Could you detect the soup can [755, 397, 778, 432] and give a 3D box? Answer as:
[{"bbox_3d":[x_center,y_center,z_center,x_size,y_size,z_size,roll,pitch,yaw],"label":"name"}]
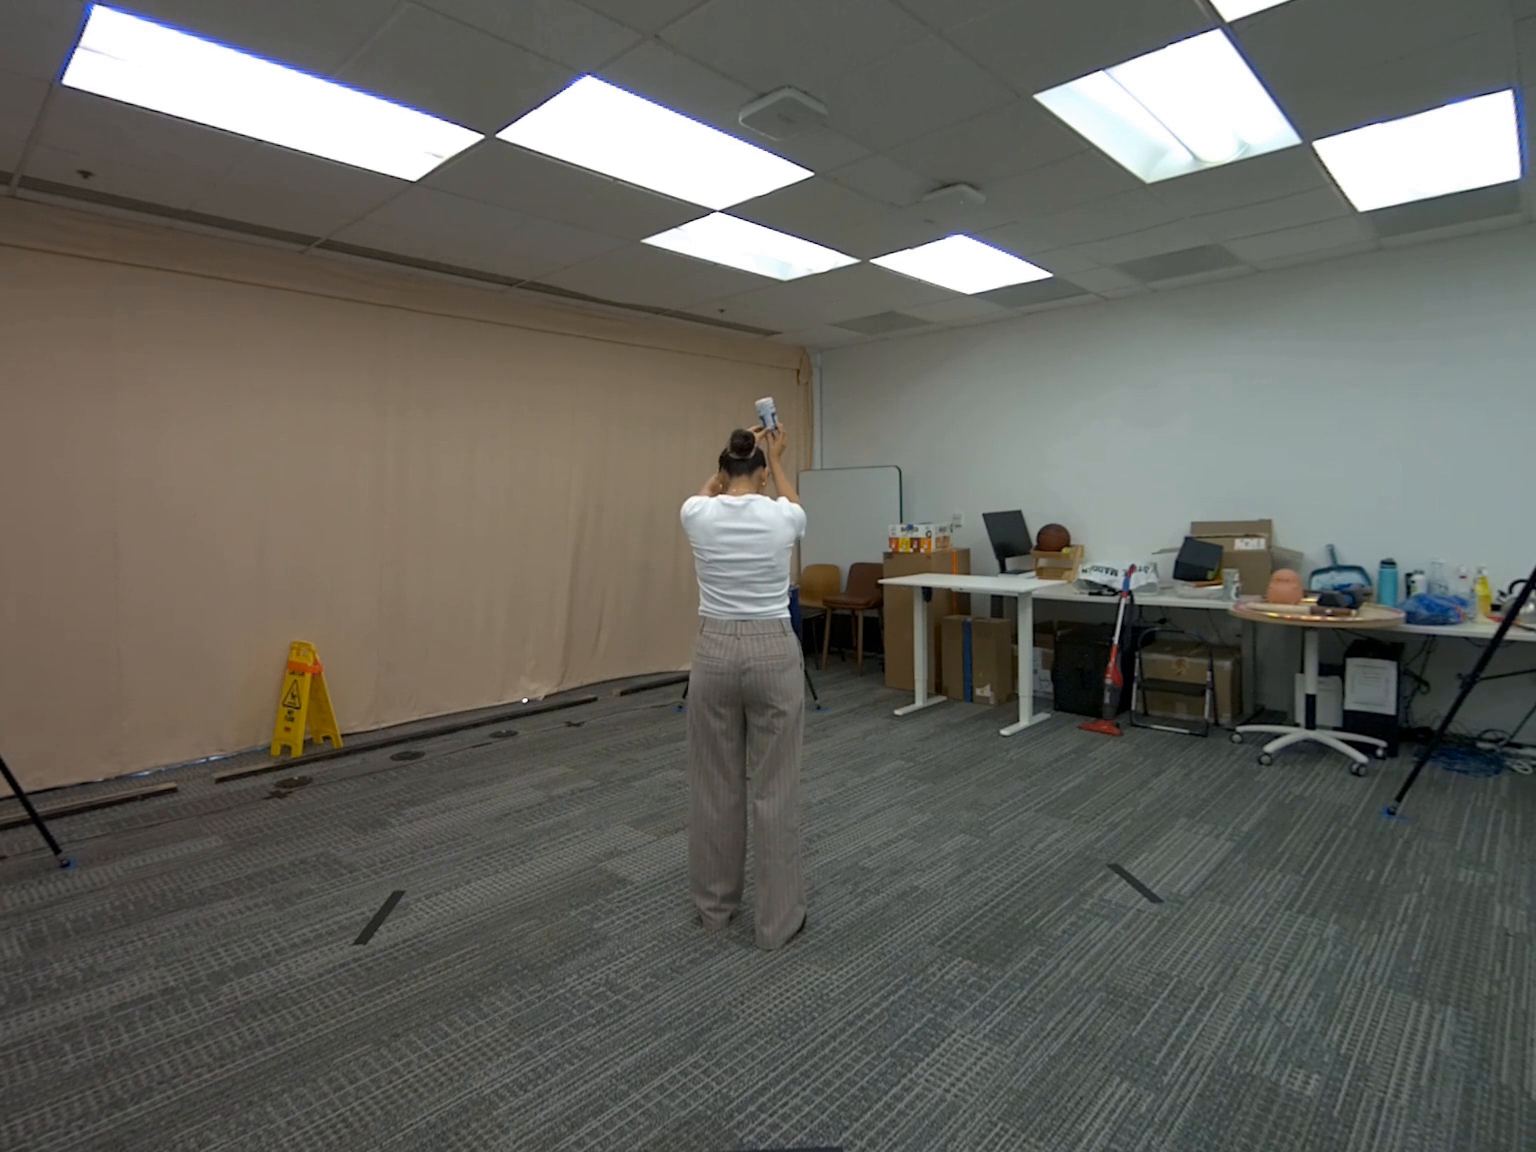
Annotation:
[{"bbox_3d":[0.004,-0.596,3.113,0.067,0.120,0.067,-14,9,1],"label":"soup can"}]
